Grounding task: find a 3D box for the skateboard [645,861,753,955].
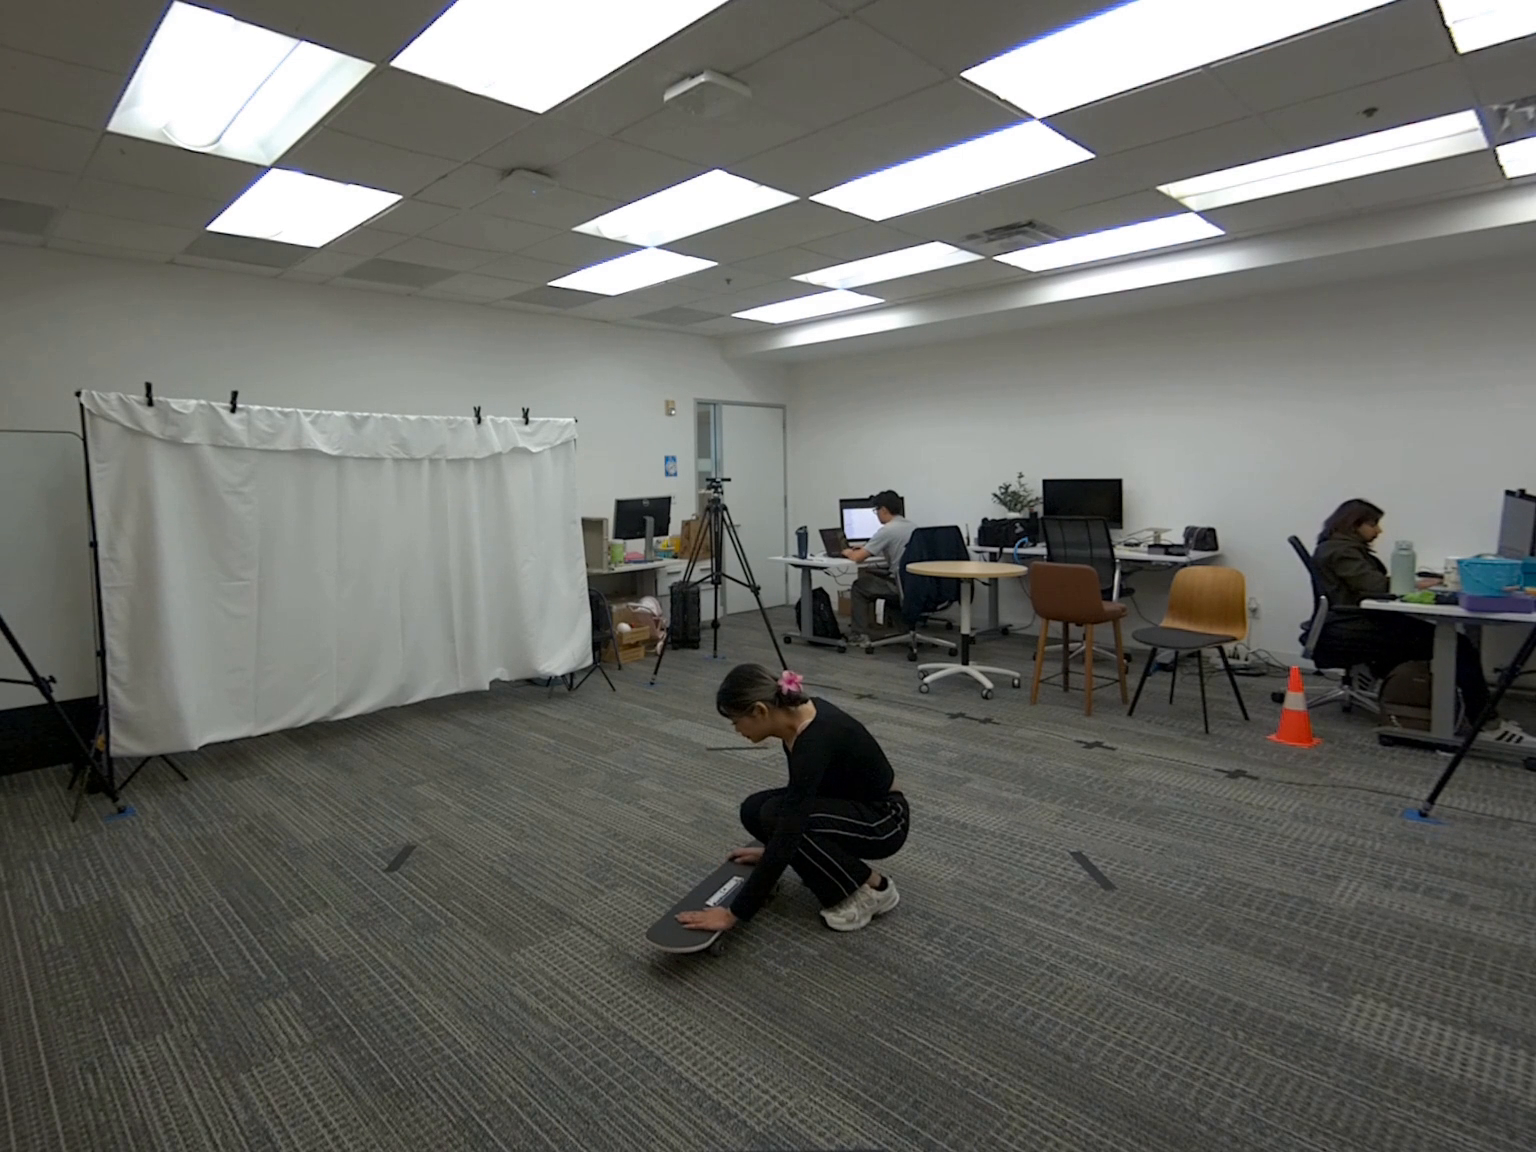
[{"bbox_3d":[-0.129,1.025,2.730,0.198,0.110,0.771,2,8,25],"label":"skateboard"}]
